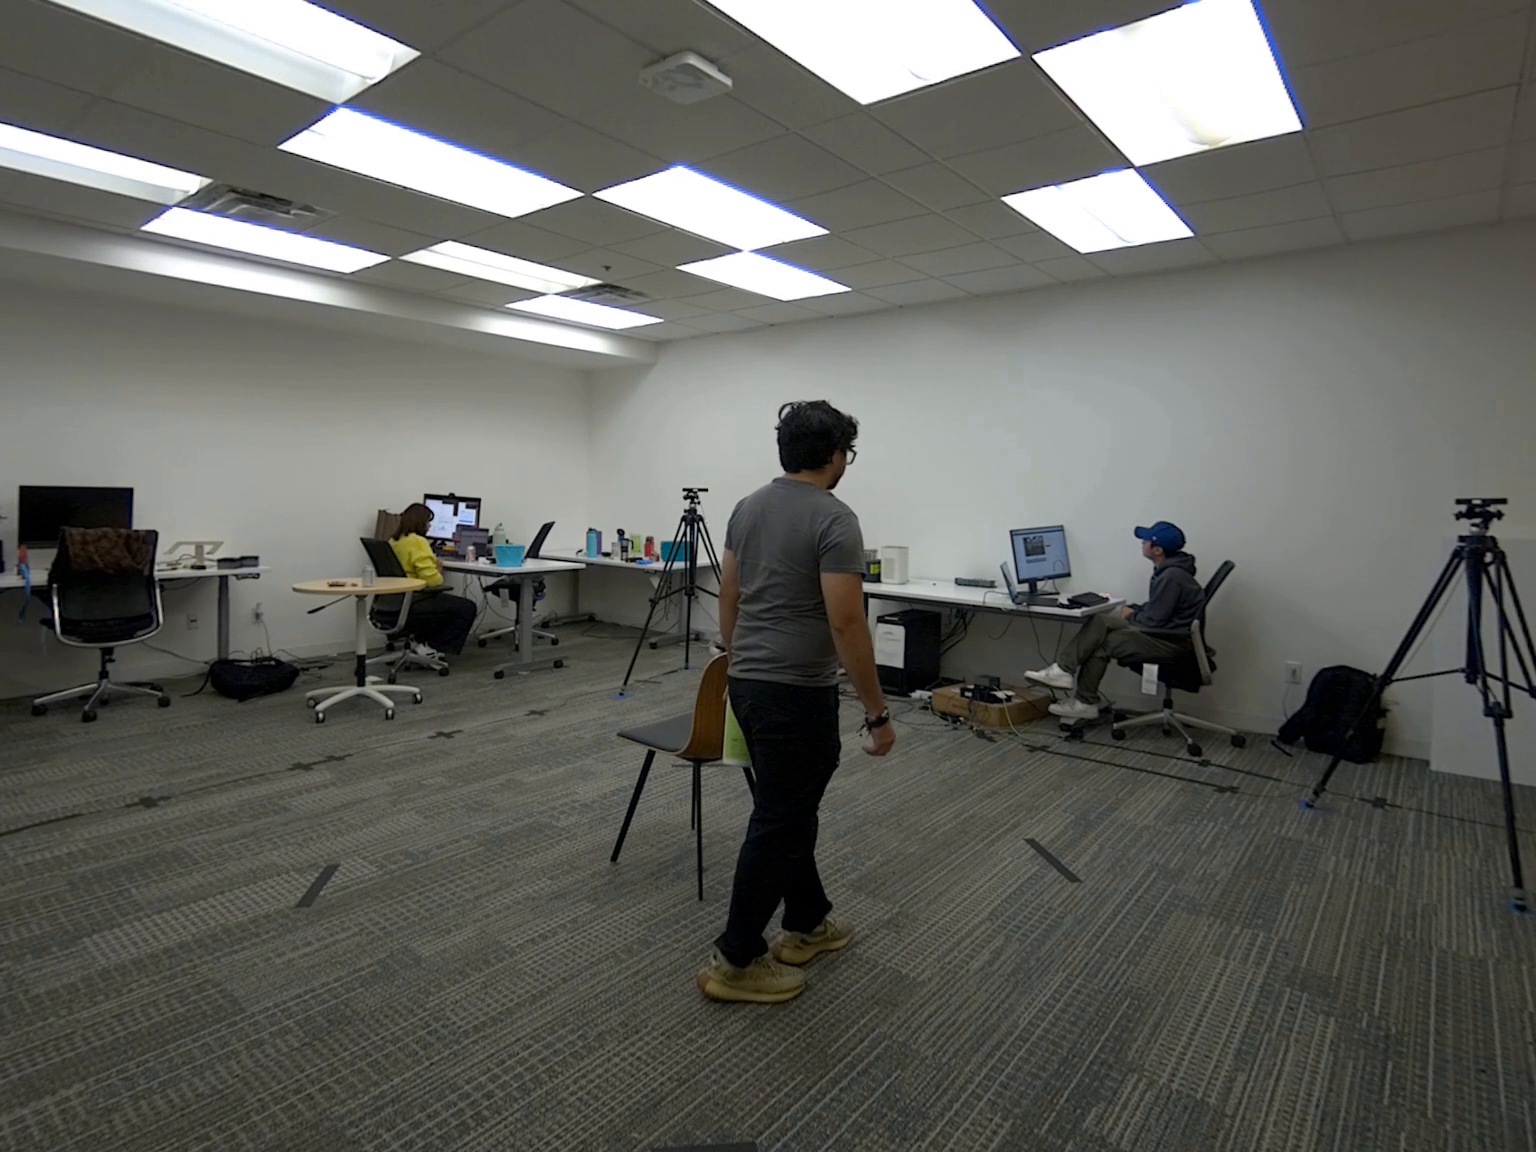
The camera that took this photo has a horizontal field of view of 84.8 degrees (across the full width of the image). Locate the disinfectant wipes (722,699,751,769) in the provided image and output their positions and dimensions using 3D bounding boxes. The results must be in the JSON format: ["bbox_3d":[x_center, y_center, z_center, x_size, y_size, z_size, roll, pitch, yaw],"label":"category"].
[{"bbox_3d":[-0.086,0.476,2.660,0.118,0.219,0.117,2,-8,-2],"label":"disinfectant wipes"}]
